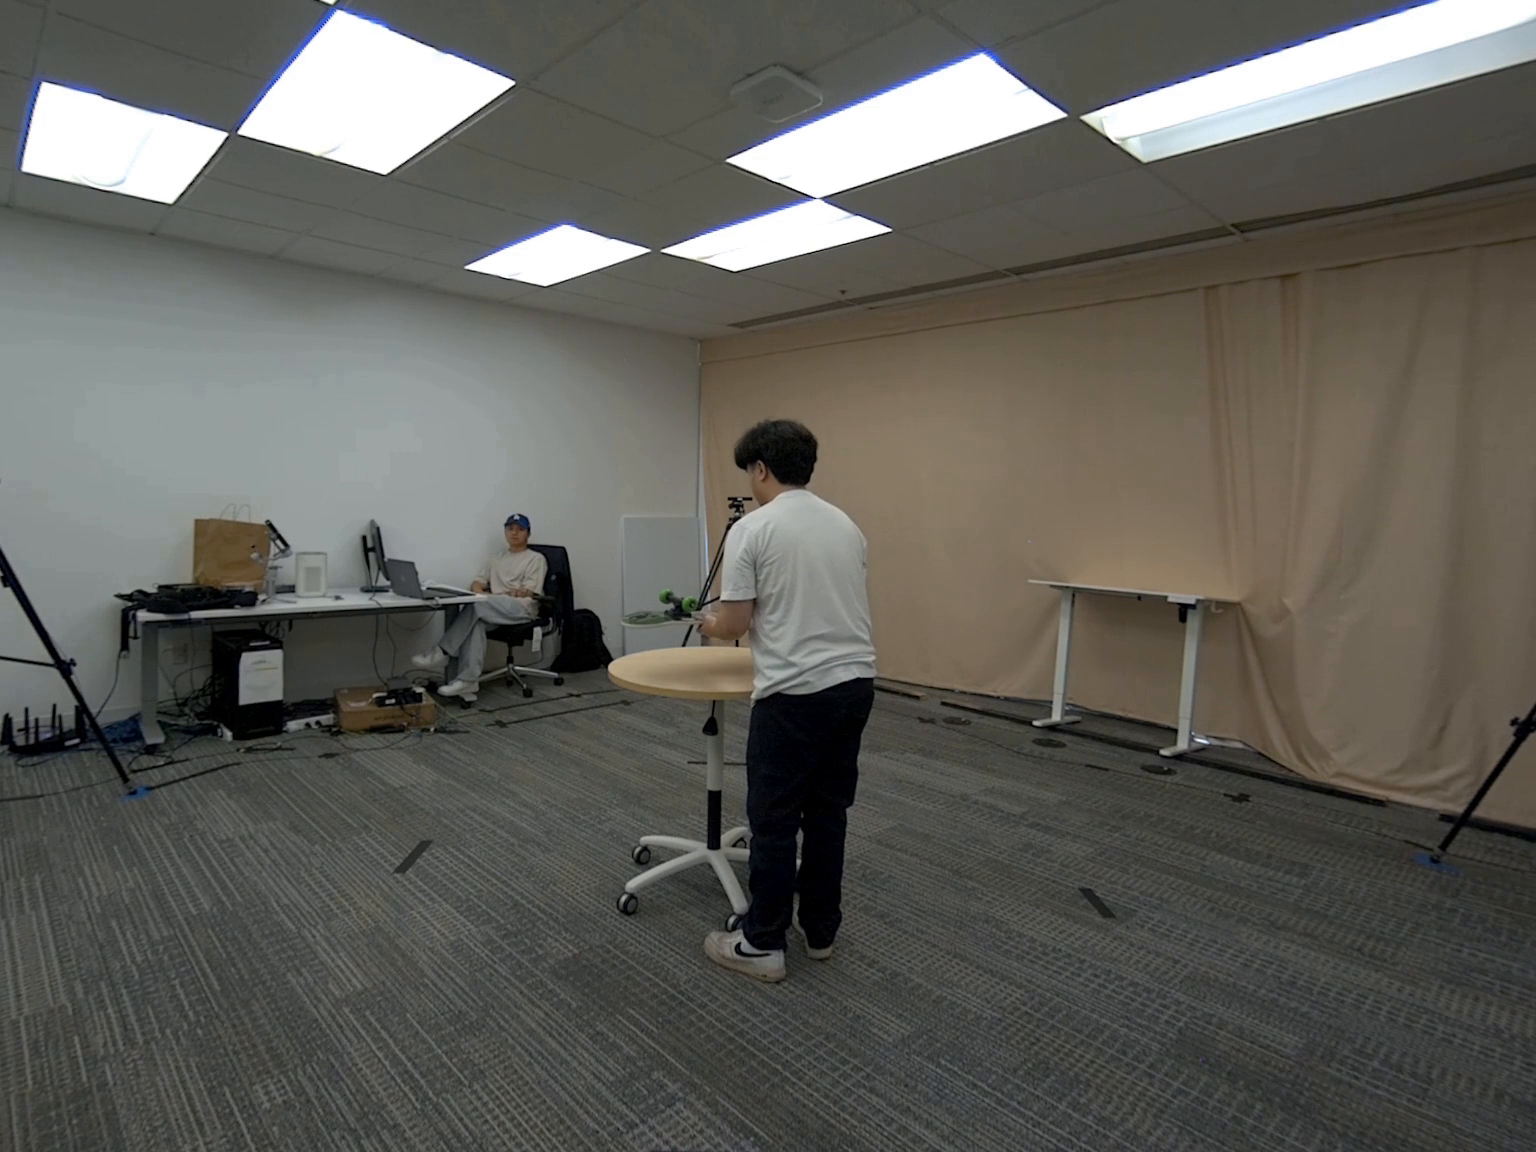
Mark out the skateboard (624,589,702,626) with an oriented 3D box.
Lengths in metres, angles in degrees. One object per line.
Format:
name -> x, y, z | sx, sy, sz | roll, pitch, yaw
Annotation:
skateboard -> -0.144, 0.121, 2.932 | 0.768, 0.110, 0.198 | 1, 6, -32
